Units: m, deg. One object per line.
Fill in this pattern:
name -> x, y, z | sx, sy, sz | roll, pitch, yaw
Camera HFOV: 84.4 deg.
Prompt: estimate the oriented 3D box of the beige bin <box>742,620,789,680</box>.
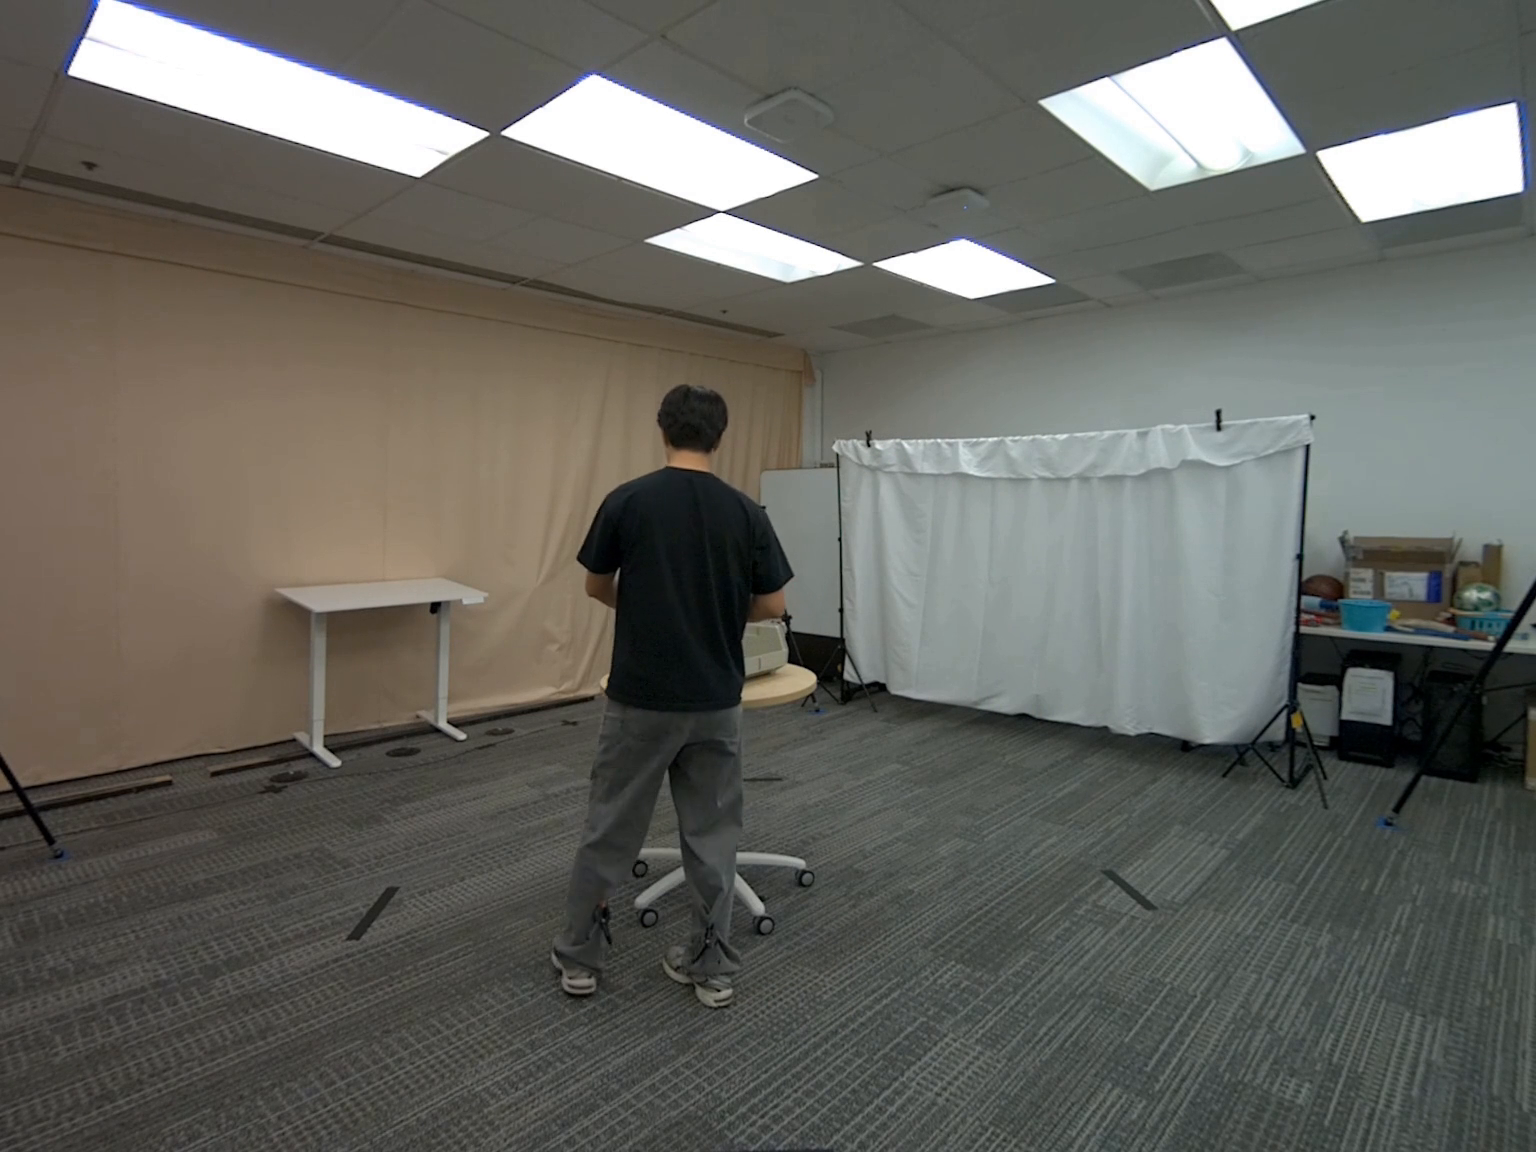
beige bin -> -0.194, 0.271, 2.987 | 0.389, 0.188, 0.410 | 1, 5, 39
